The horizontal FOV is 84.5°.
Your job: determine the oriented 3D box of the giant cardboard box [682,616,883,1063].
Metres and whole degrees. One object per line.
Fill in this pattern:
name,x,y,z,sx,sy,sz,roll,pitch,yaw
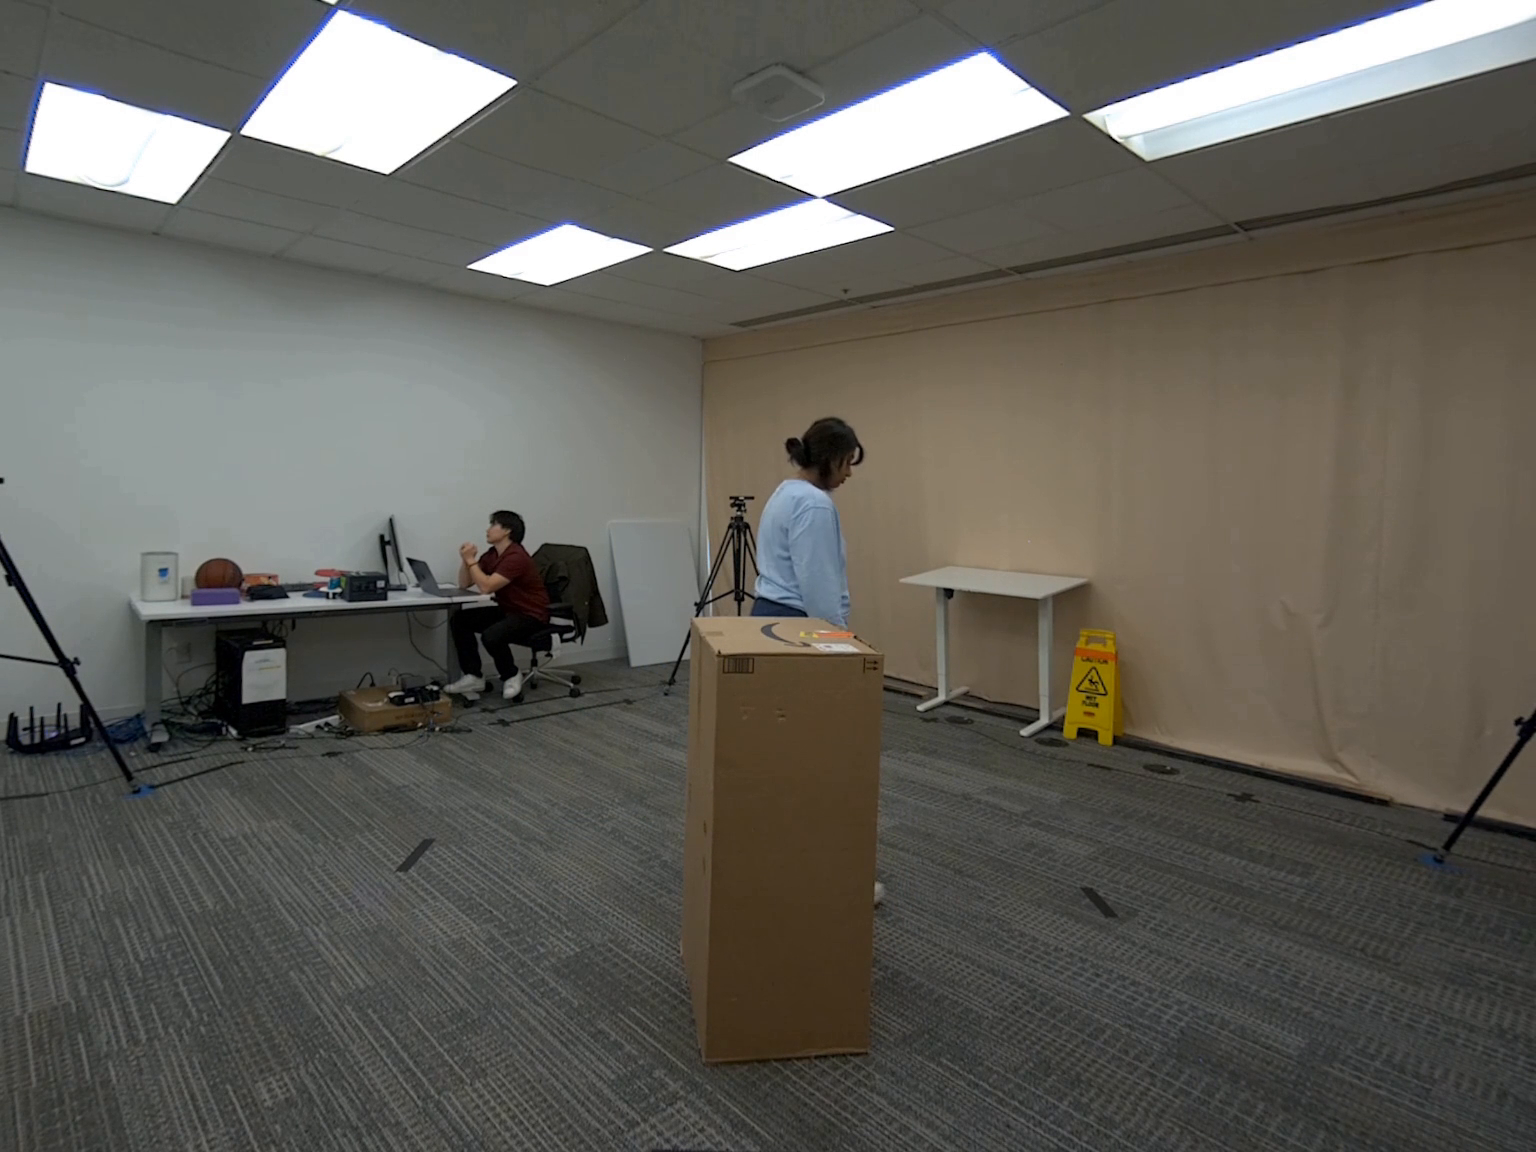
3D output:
giant cardboard box,0.006,0.668,2.341,0.443,1.024,0.590,1,4,-10
